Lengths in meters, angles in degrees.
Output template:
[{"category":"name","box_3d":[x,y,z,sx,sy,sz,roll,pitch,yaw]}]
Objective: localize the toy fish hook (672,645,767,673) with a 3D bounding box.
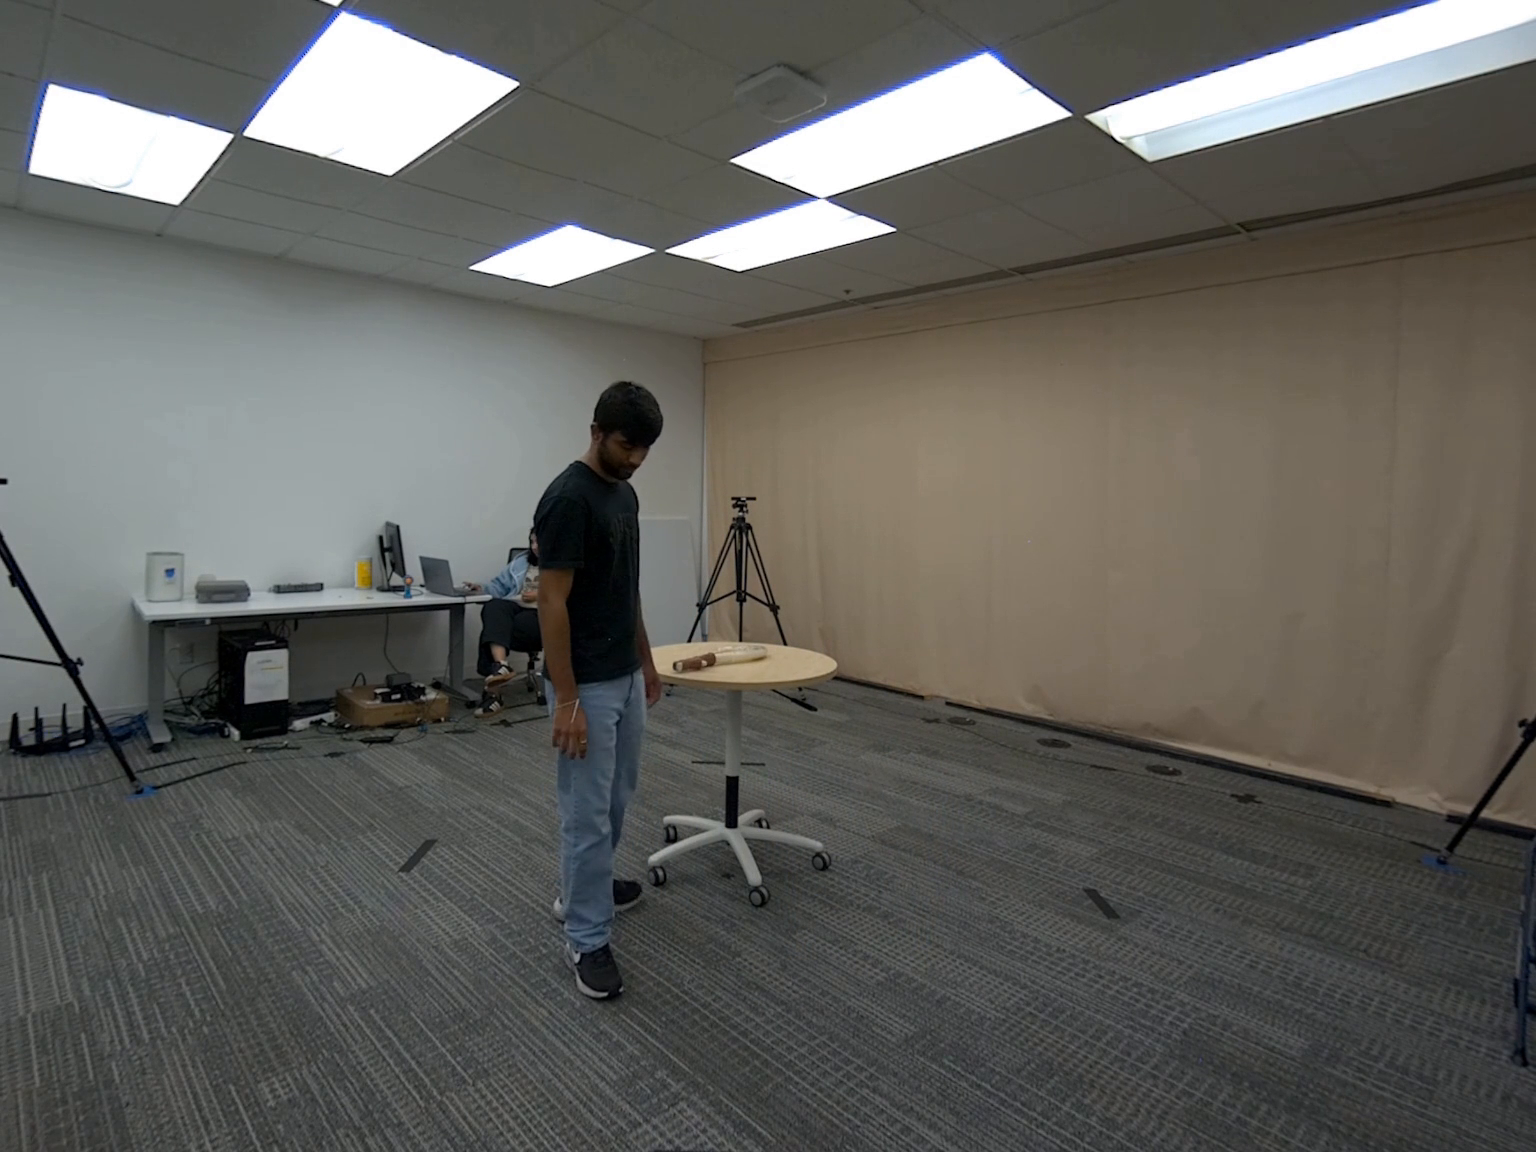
[{"category":"toy fish hook","box_3d":[-0.210,0.307,3.126,0.229,0.048,0.495,-2,1,39]}]
